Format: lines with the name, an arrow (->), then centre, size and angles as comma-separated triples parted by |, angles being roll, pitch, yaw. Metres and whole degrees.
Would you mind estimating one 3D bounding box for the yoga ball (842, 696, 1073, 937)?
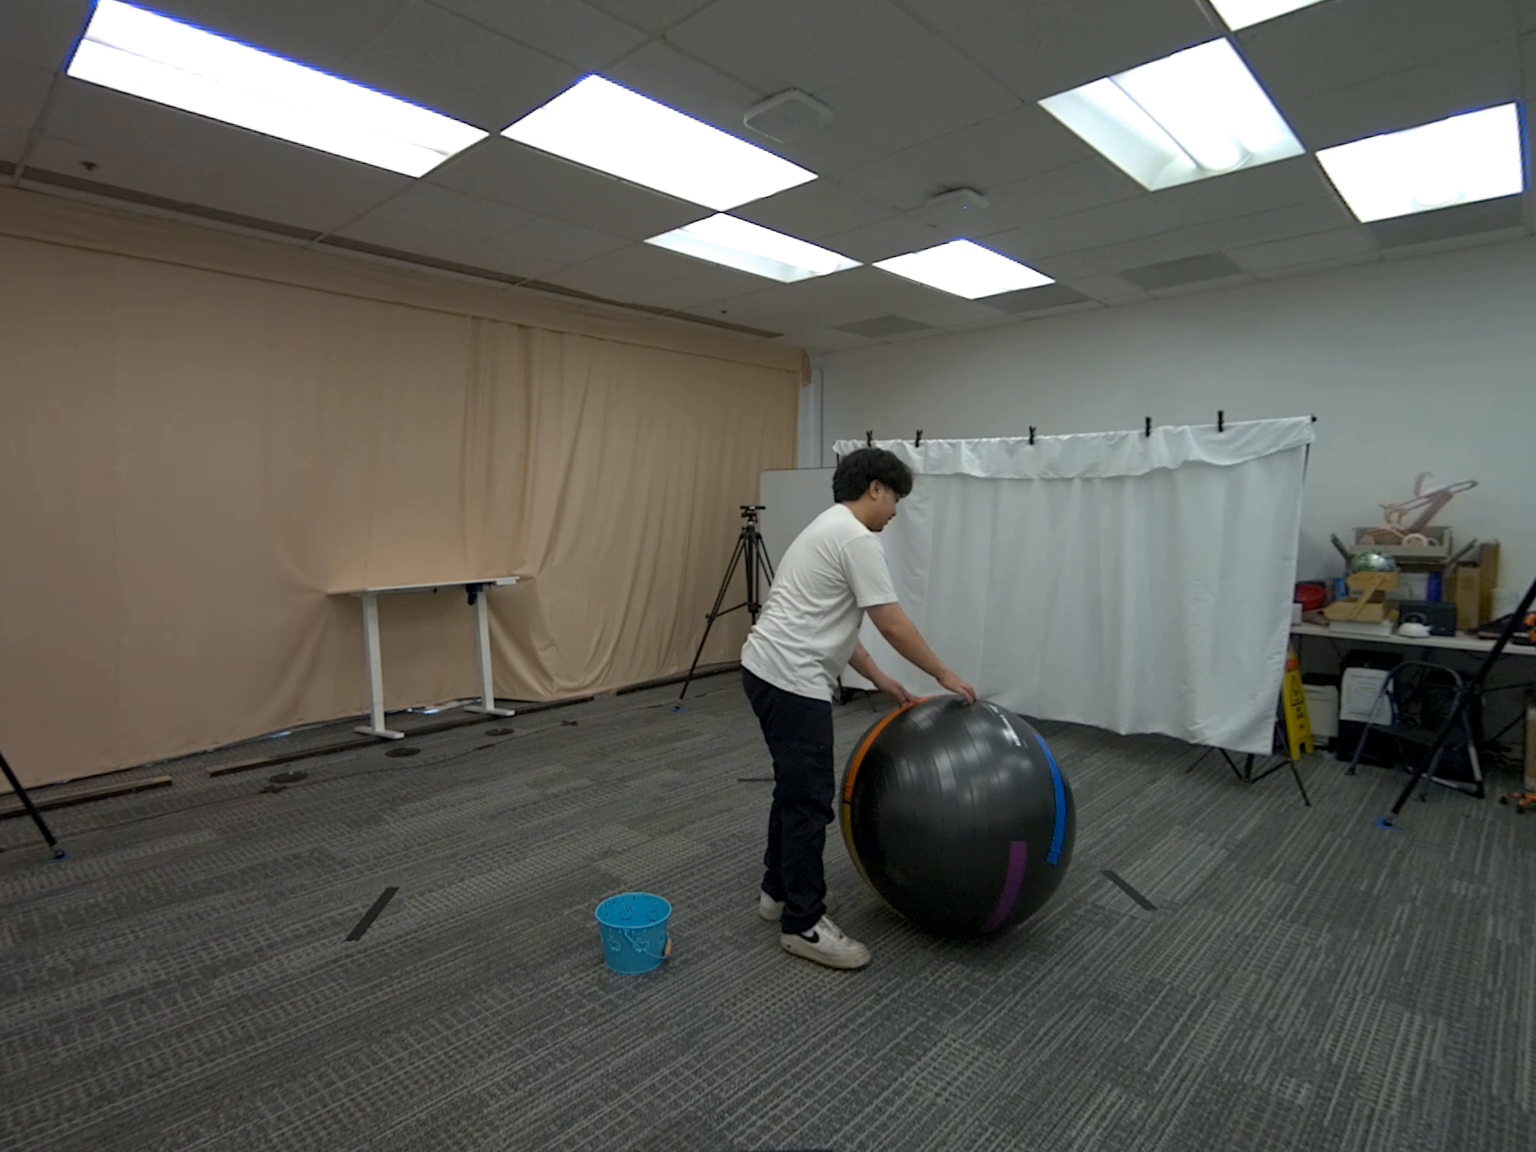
yoga ball -> 0.639, 0.790, 2.810 | 0.757, 0.756, 0.760 | 0, 4, -2
